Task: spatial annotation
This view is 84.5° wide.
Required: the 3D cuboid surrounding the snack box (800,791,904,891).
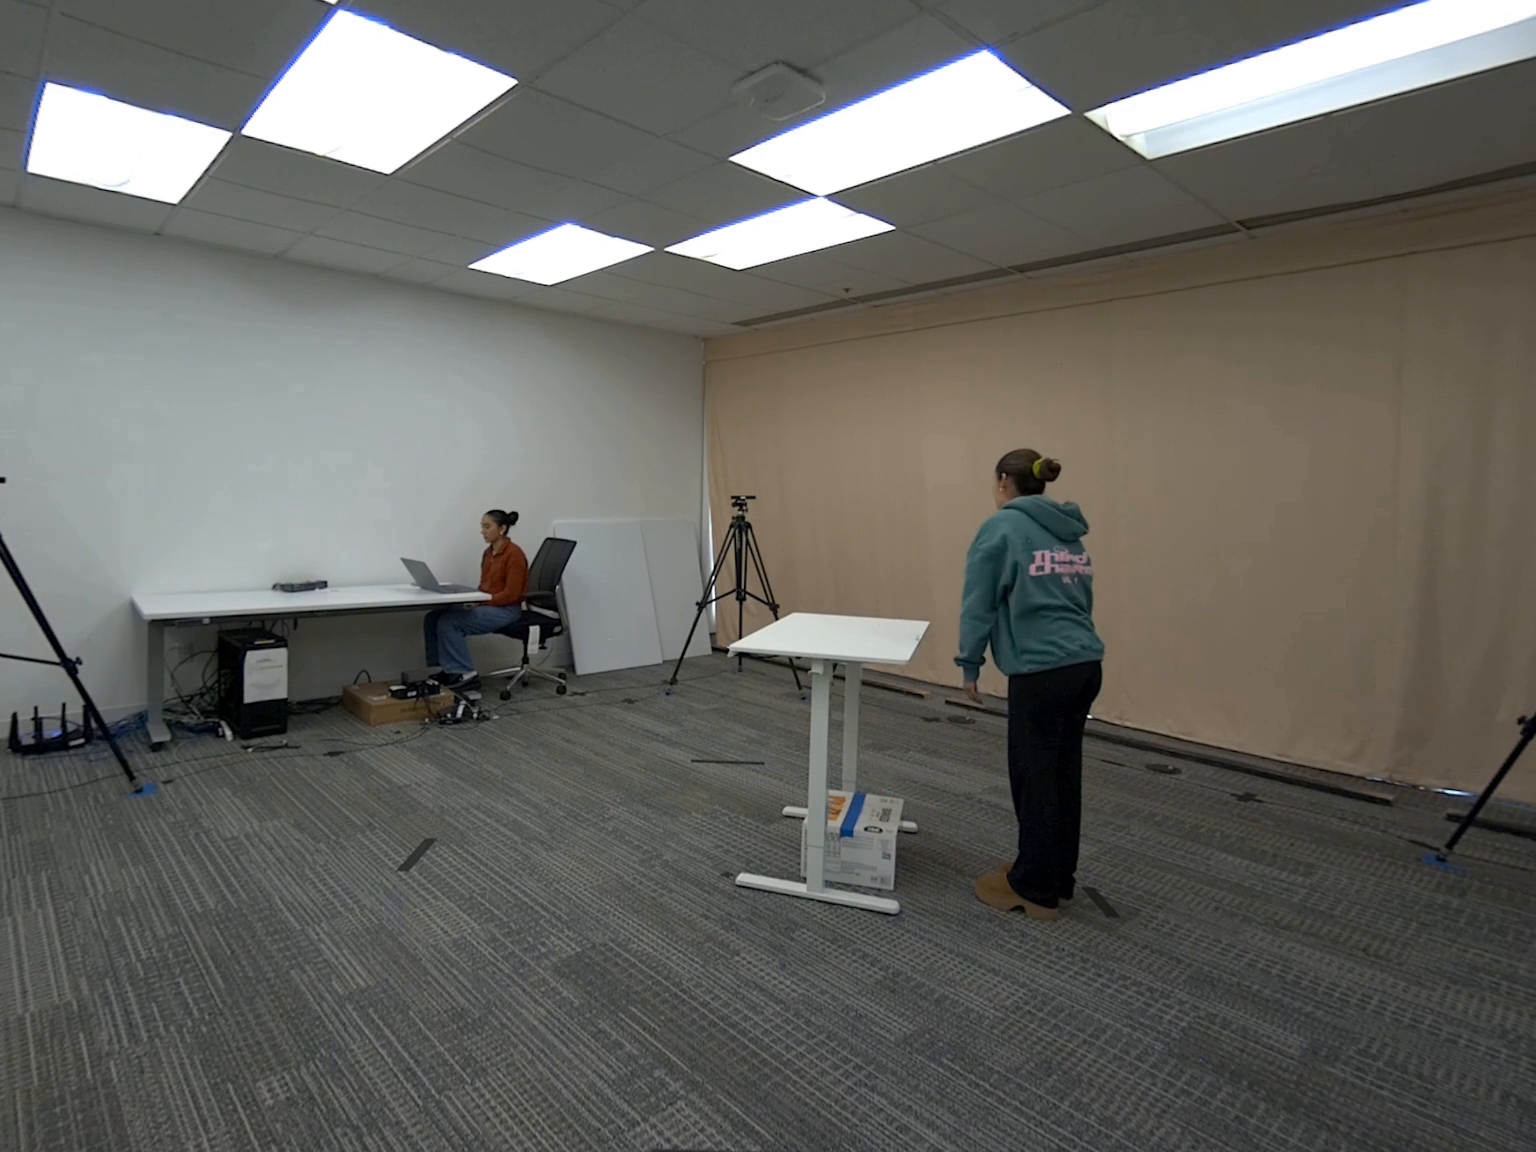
[{"bbox_3d":[0.326,1.000,3.228,0.344,0.205,0.401,2,5,14],"label":"snack box"}]
